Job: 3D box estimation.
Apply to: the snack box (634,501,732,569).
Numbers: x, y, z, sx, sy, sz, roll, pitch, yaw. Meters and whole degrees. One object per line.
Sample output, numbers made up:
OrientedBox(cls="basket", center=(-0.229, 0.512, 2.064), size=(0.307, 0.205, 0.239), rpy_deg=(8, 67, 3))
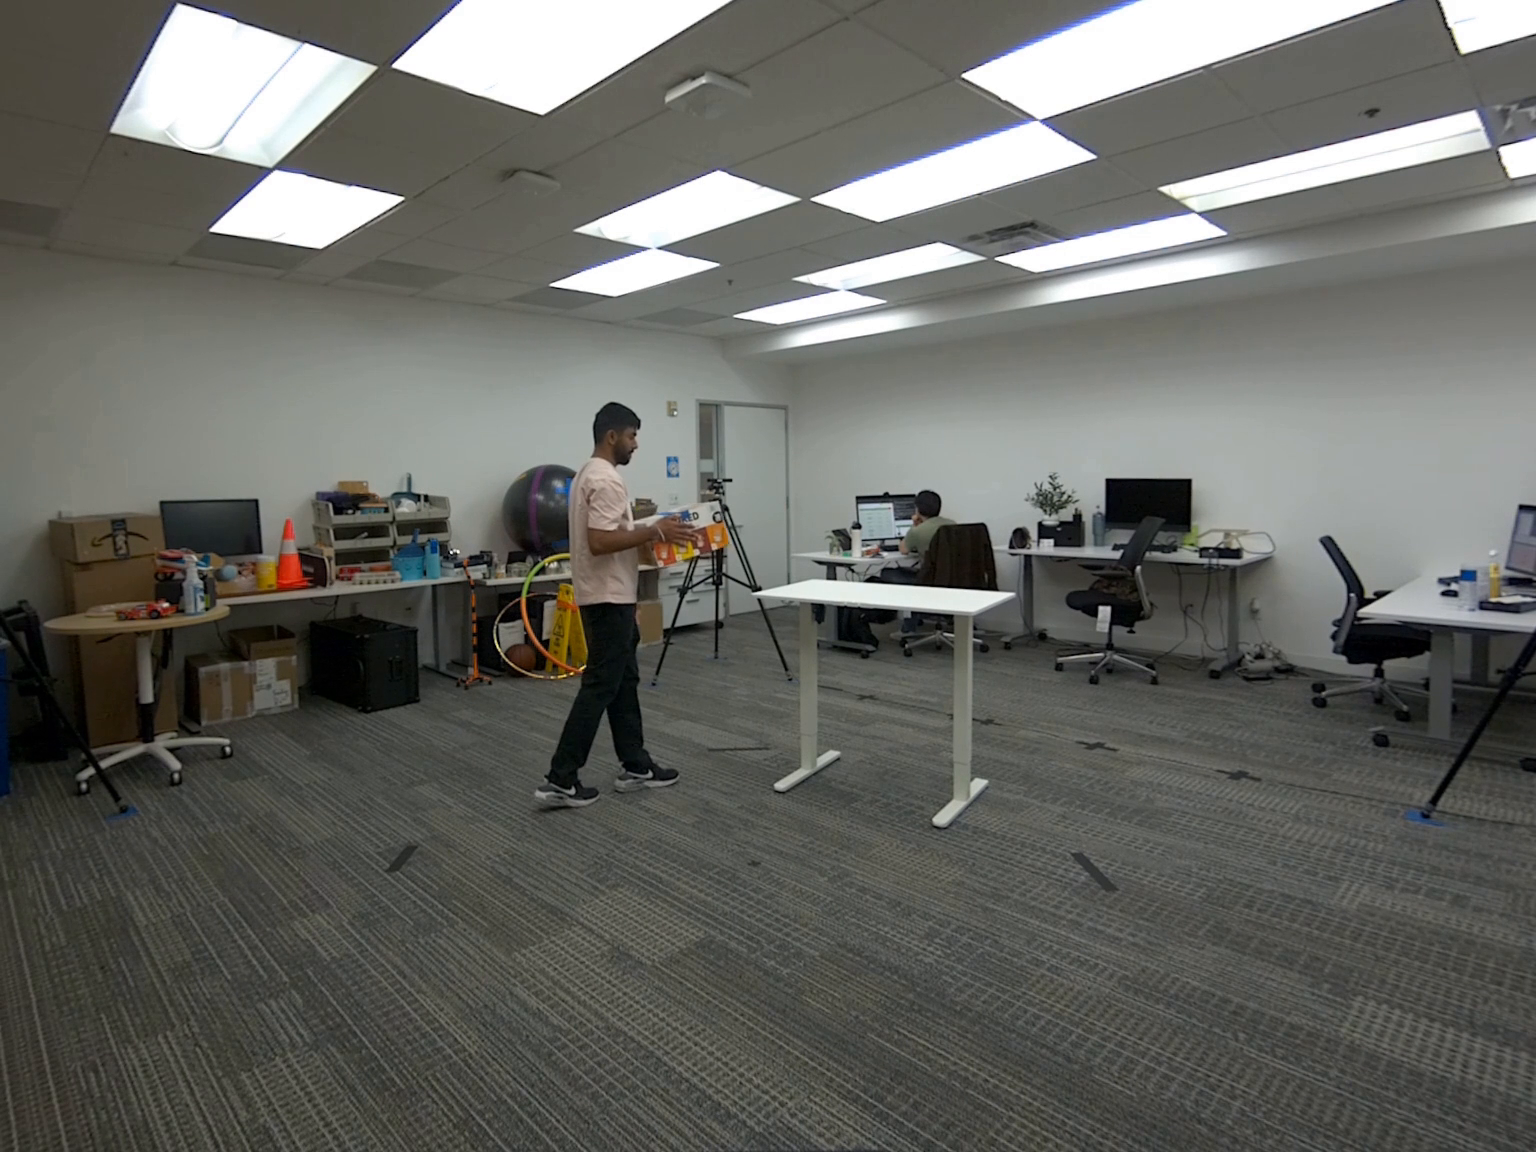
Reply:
OrientedBox(cls="snack box", center=(-0.414, -0.190, 3.872), size=(0.336, 0.204, 0.413), rpy_deg=(-17, 8, -18))
